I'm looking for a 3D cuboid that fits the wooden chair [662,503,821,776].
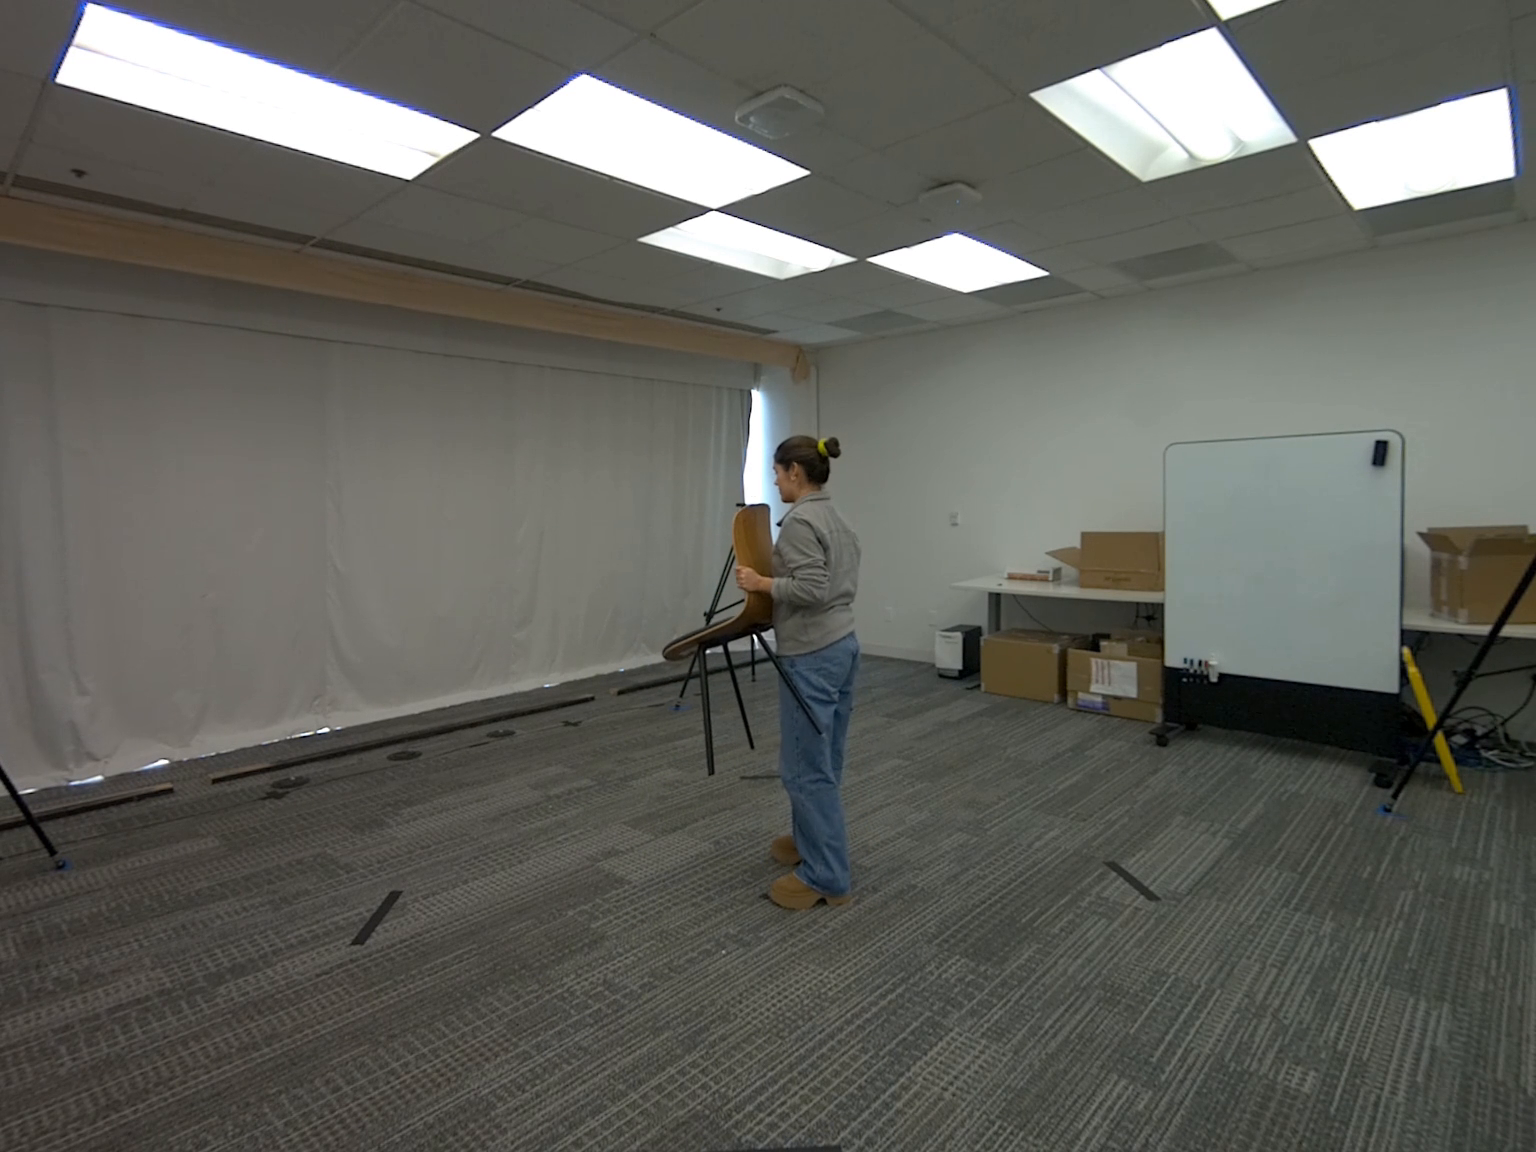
[{"bbox_3d":[-0.115,0.229,3.176,0.531,0.882,0.468,-20,-6,20],"label":"wooden chair"}]
